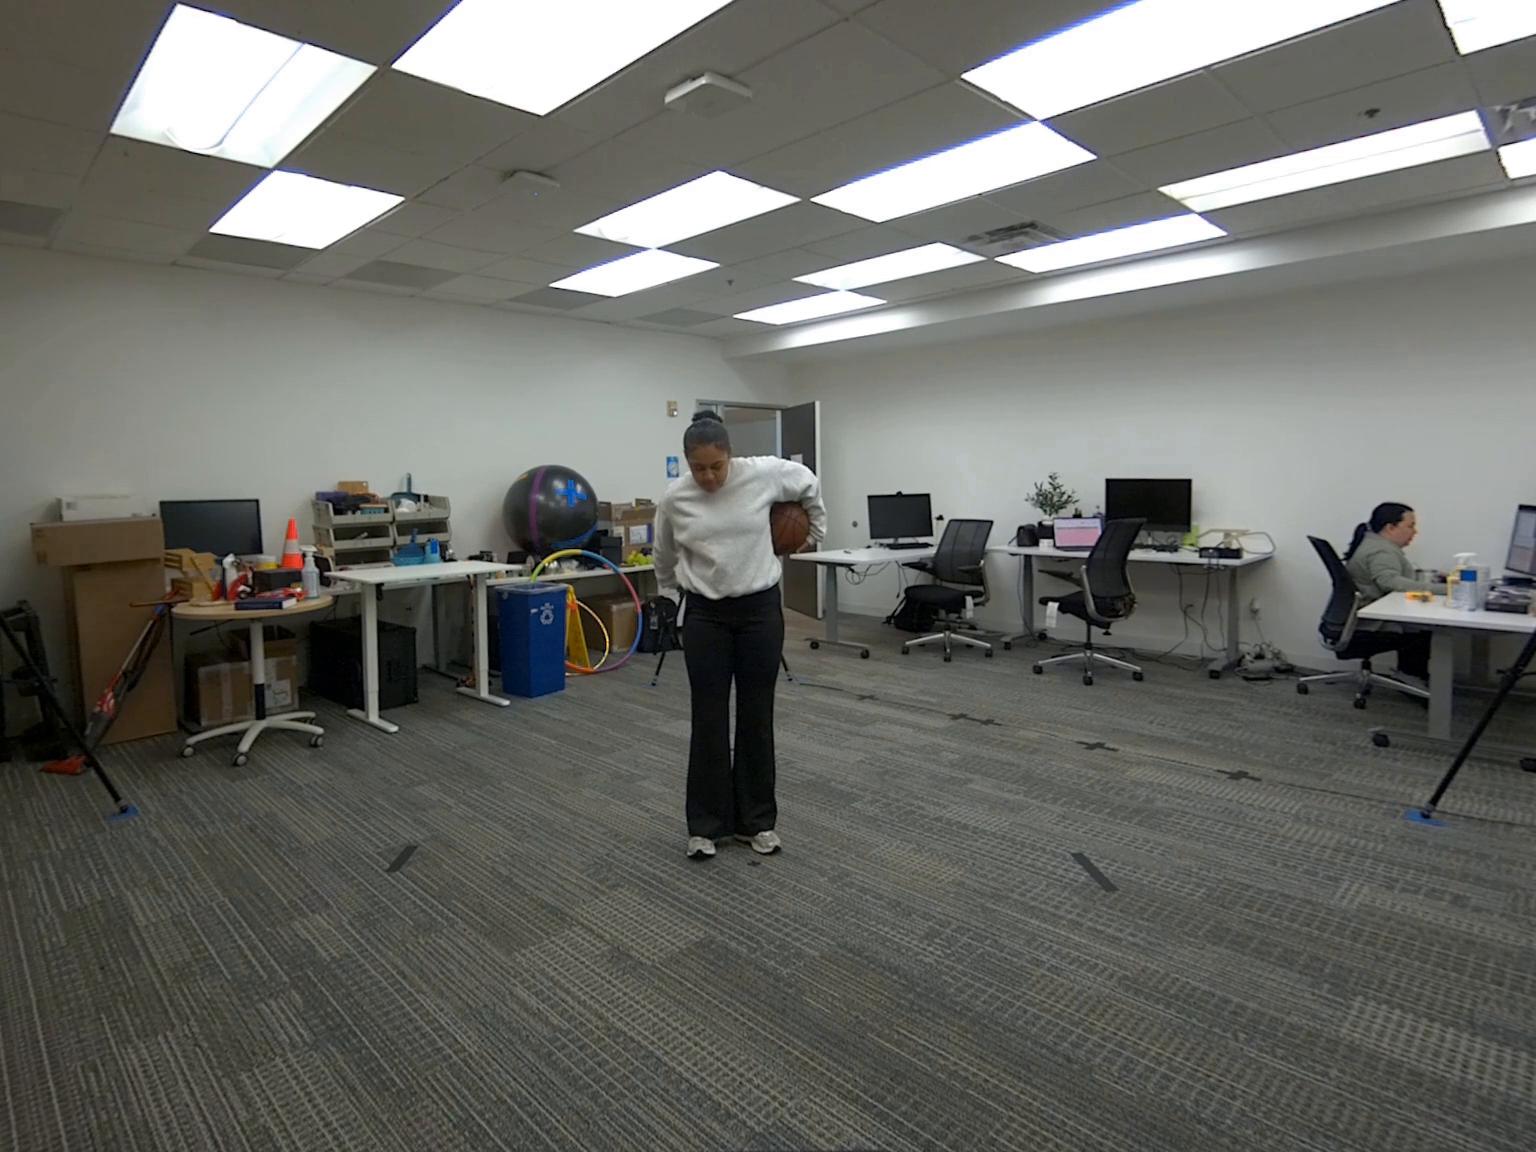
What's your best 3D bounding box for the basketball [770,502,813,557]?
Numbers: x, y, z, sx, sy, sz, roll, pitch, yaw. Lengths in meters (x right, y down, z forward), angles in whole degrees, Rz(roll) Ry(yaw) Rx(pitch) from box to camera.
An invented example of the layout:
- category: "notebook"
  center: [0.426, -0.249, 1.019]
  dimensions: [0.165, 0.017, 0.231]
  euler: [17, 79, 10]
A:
- category: "basketball"
  center: [0.038, -0.200, 3.379]
  dimensions: [0.236, 0.235, 0.237]
  euler: [-1, 5, -2]
